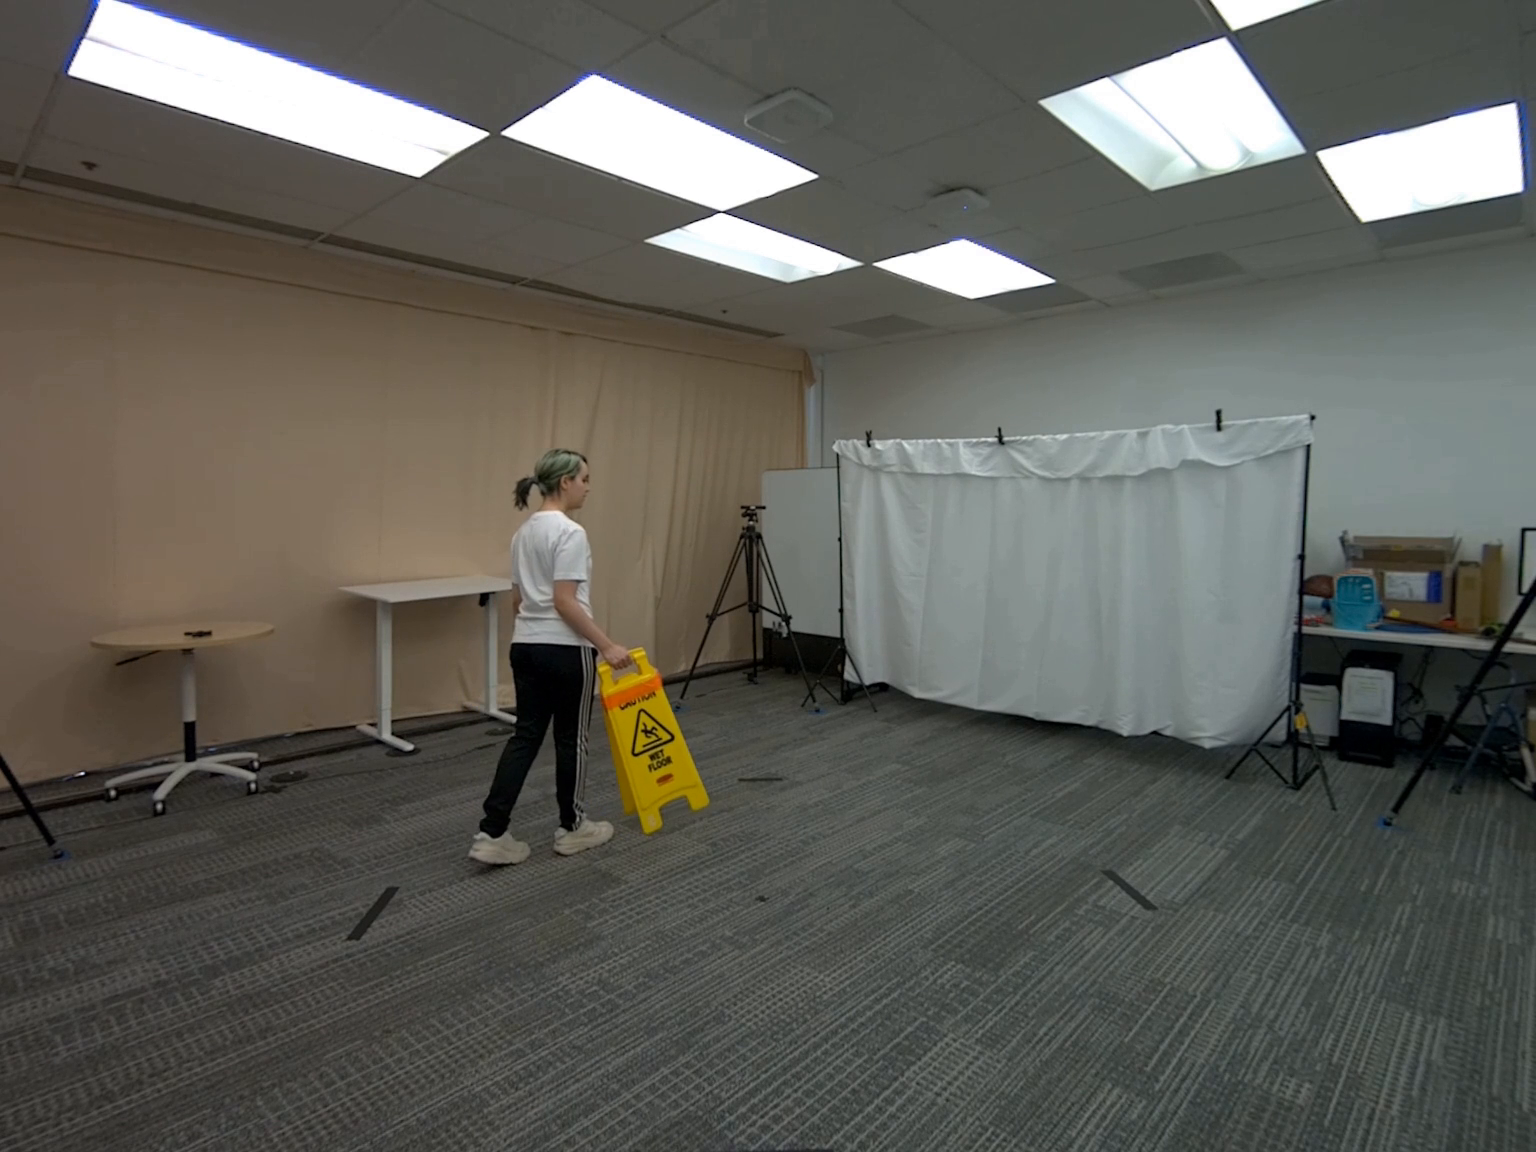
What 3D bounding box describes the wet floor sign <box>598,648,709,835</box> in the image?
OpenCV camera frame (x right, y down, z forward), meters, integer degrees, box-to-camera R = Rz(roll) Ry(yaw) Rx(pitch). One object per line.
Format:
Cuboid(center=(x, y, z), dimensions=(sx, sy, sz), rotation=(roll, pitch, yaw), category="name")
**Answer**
Cuboid(center=(-0.487, 0.616, 3.279), dimensions=(0.277, 0.642, 0.297), rotation=(-18, 8, -24), category="wet floor sign")
